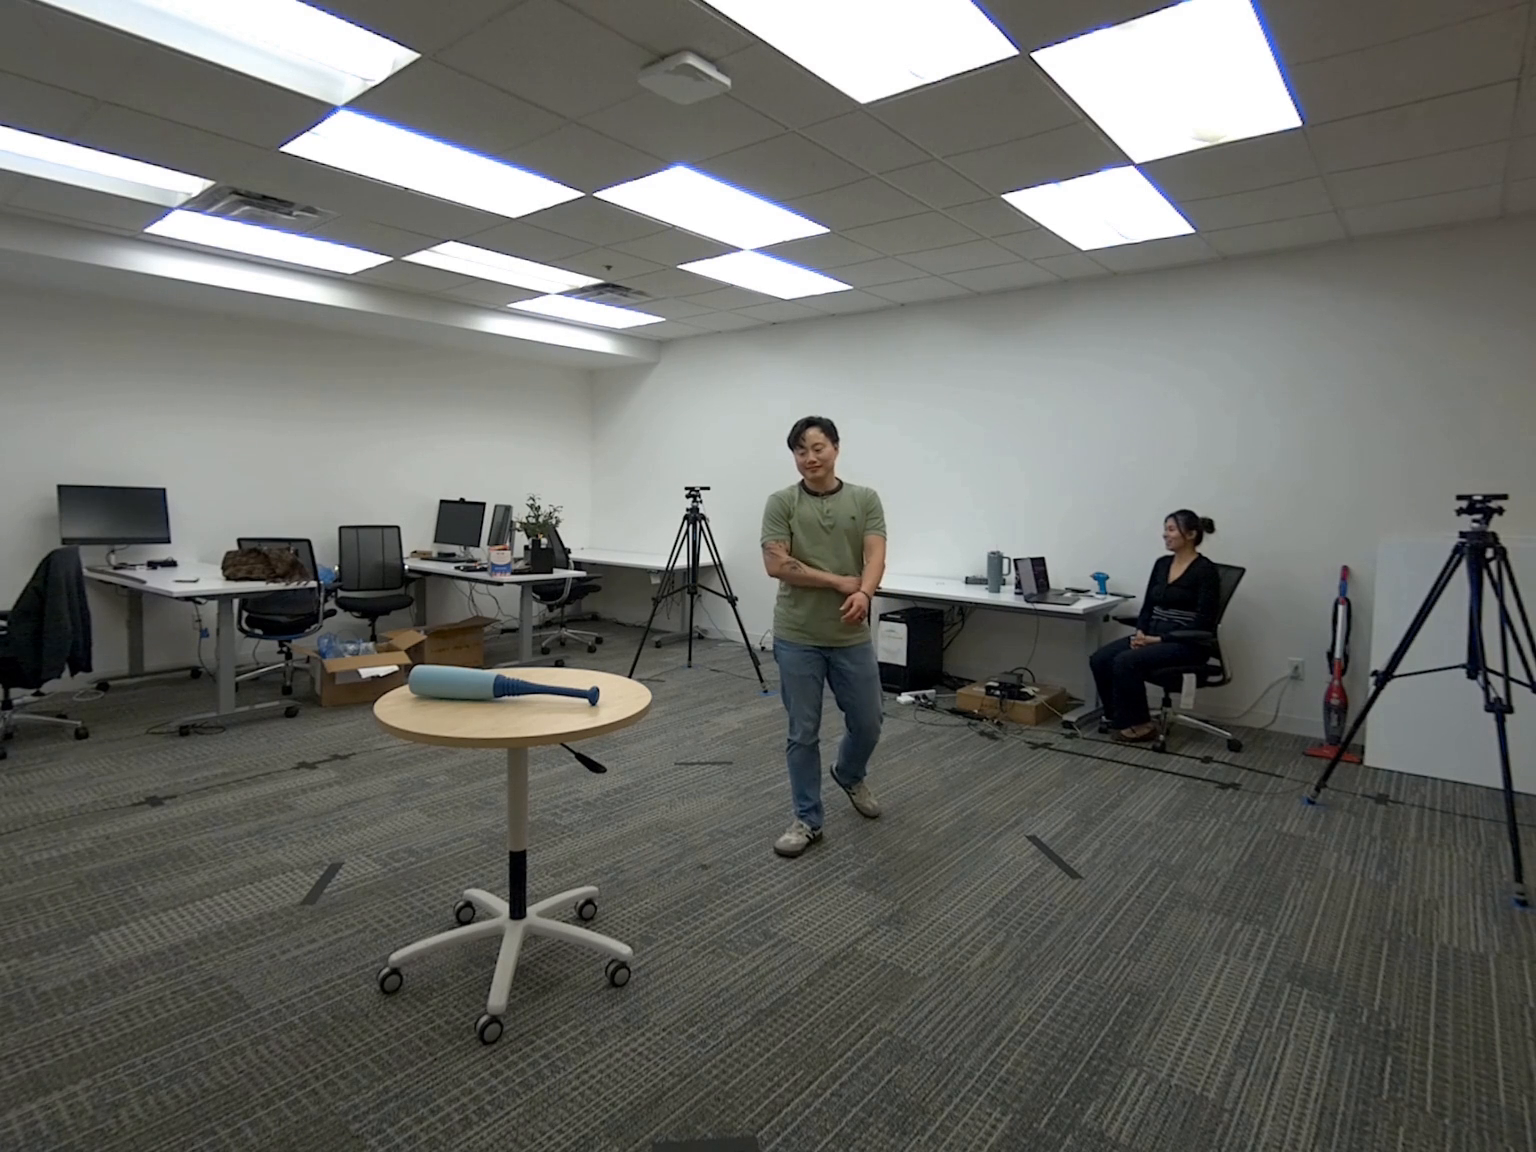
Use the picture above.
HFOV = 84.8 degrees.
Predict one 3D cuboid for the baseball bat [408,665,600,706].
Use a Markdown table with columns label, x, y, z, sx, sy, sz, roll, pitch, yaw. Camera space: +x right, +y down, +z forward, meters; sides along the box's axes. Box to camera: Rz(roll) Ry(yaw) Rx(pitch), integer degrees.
| label | x | y | z | sx | sy | sz | roll | pitch | yaw |
| --- | --- | --- | --- | --- | --- | --- | --- | --- | --- |
| baseball bat | -0.753 | 0.316 | 2.383 | 0.547 | 0.089 | 0.089 | 4 | 4 | 6 |
